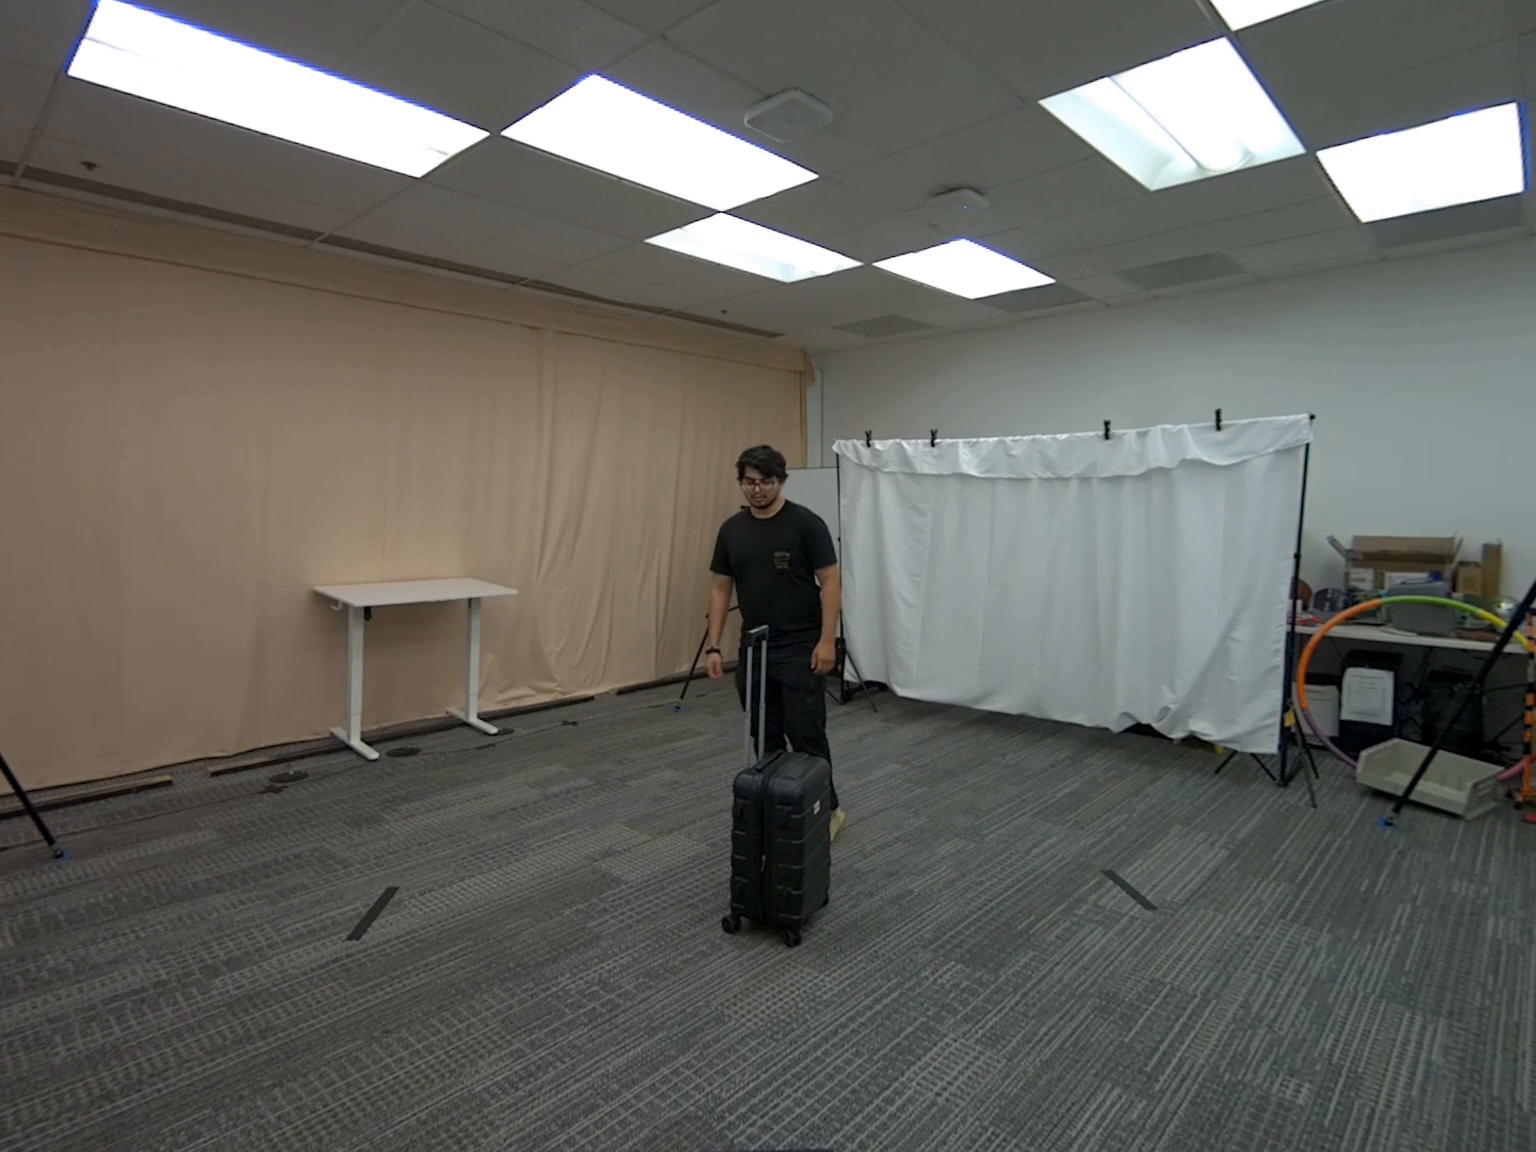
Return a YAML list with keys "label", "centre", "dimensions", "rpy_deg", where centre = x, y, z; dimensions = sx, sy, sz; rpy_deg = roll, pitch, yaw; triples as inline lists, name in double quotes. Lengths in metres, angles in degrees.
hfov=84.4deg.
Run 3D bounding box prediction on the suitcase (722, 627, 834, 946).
- label: "suitcase"
  centre: [0.059, 0.679, 2.807]
  dimensions: [0.263, 0.976, 0.376]
  rpy_deg: [5, 5, 20]
